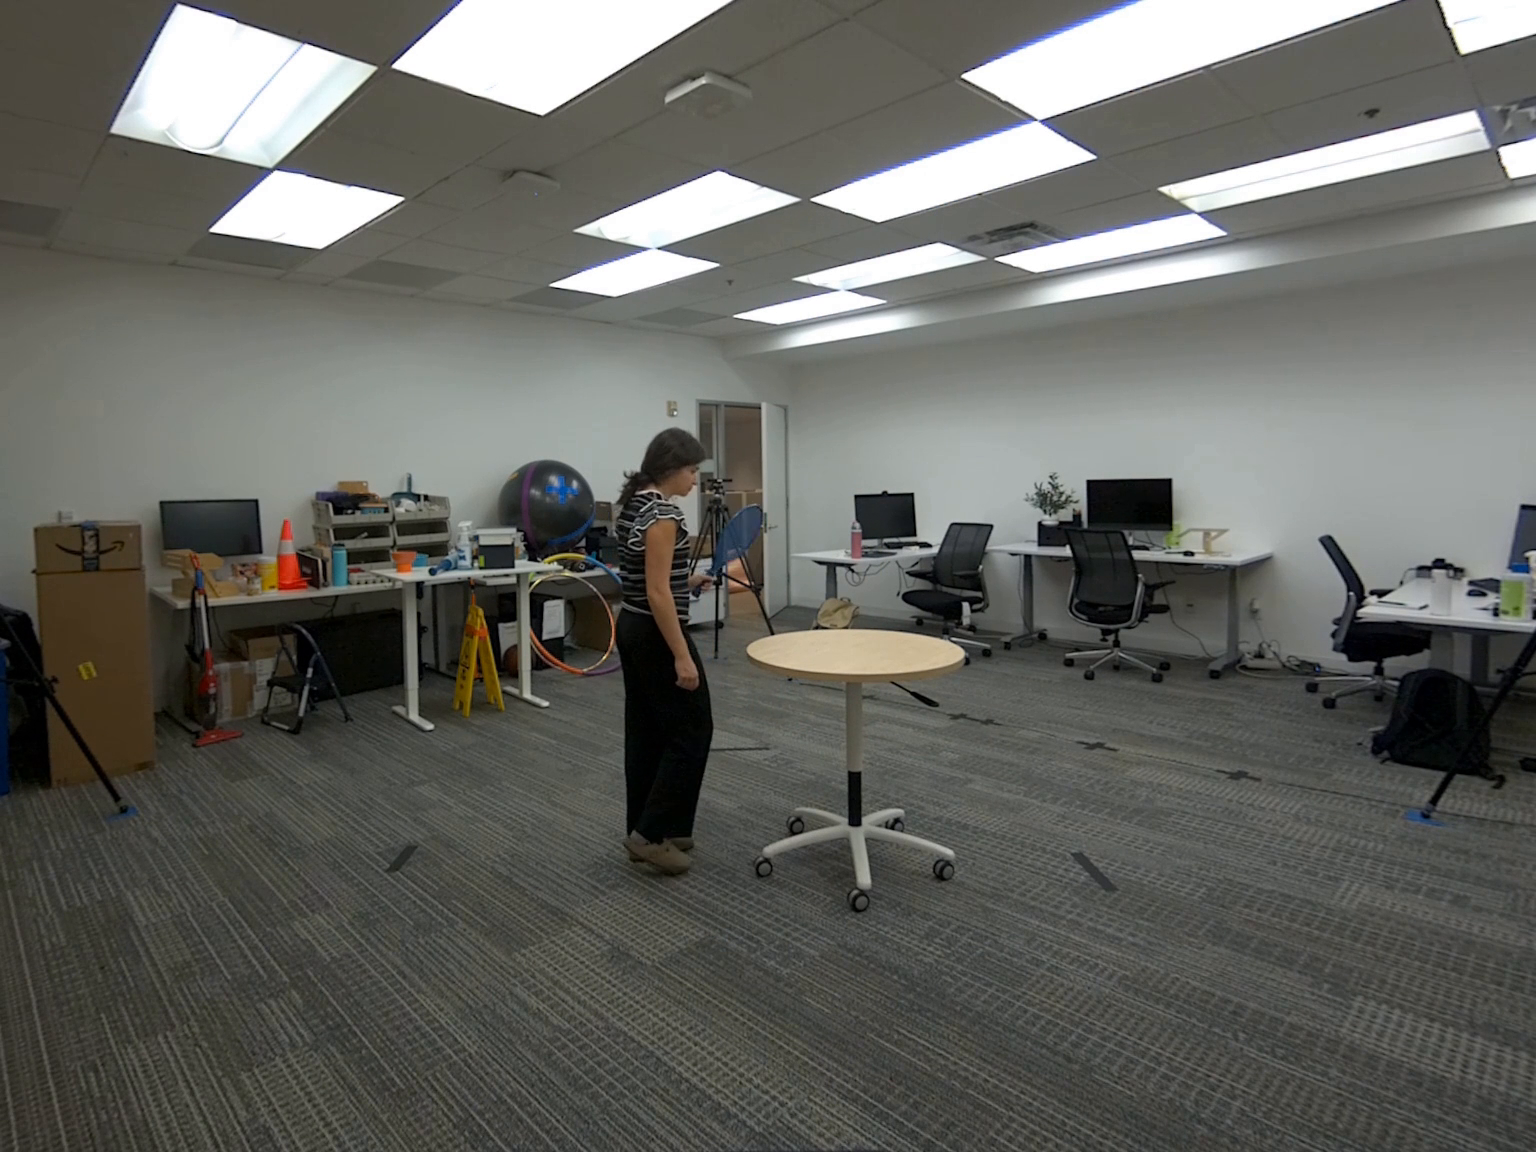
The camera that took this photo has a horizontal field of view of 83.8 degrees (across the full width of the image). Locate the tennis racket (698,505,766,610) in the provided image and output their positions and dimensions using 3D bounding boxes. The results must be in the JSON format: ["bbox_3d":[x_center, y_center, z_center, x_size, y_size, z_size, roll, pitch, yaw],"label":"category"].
[{"bbox_3d":[-0.162,-0.089,3.315,0.033,0.433,0.205,28,-10,36],"label":"tennis racket"}]
